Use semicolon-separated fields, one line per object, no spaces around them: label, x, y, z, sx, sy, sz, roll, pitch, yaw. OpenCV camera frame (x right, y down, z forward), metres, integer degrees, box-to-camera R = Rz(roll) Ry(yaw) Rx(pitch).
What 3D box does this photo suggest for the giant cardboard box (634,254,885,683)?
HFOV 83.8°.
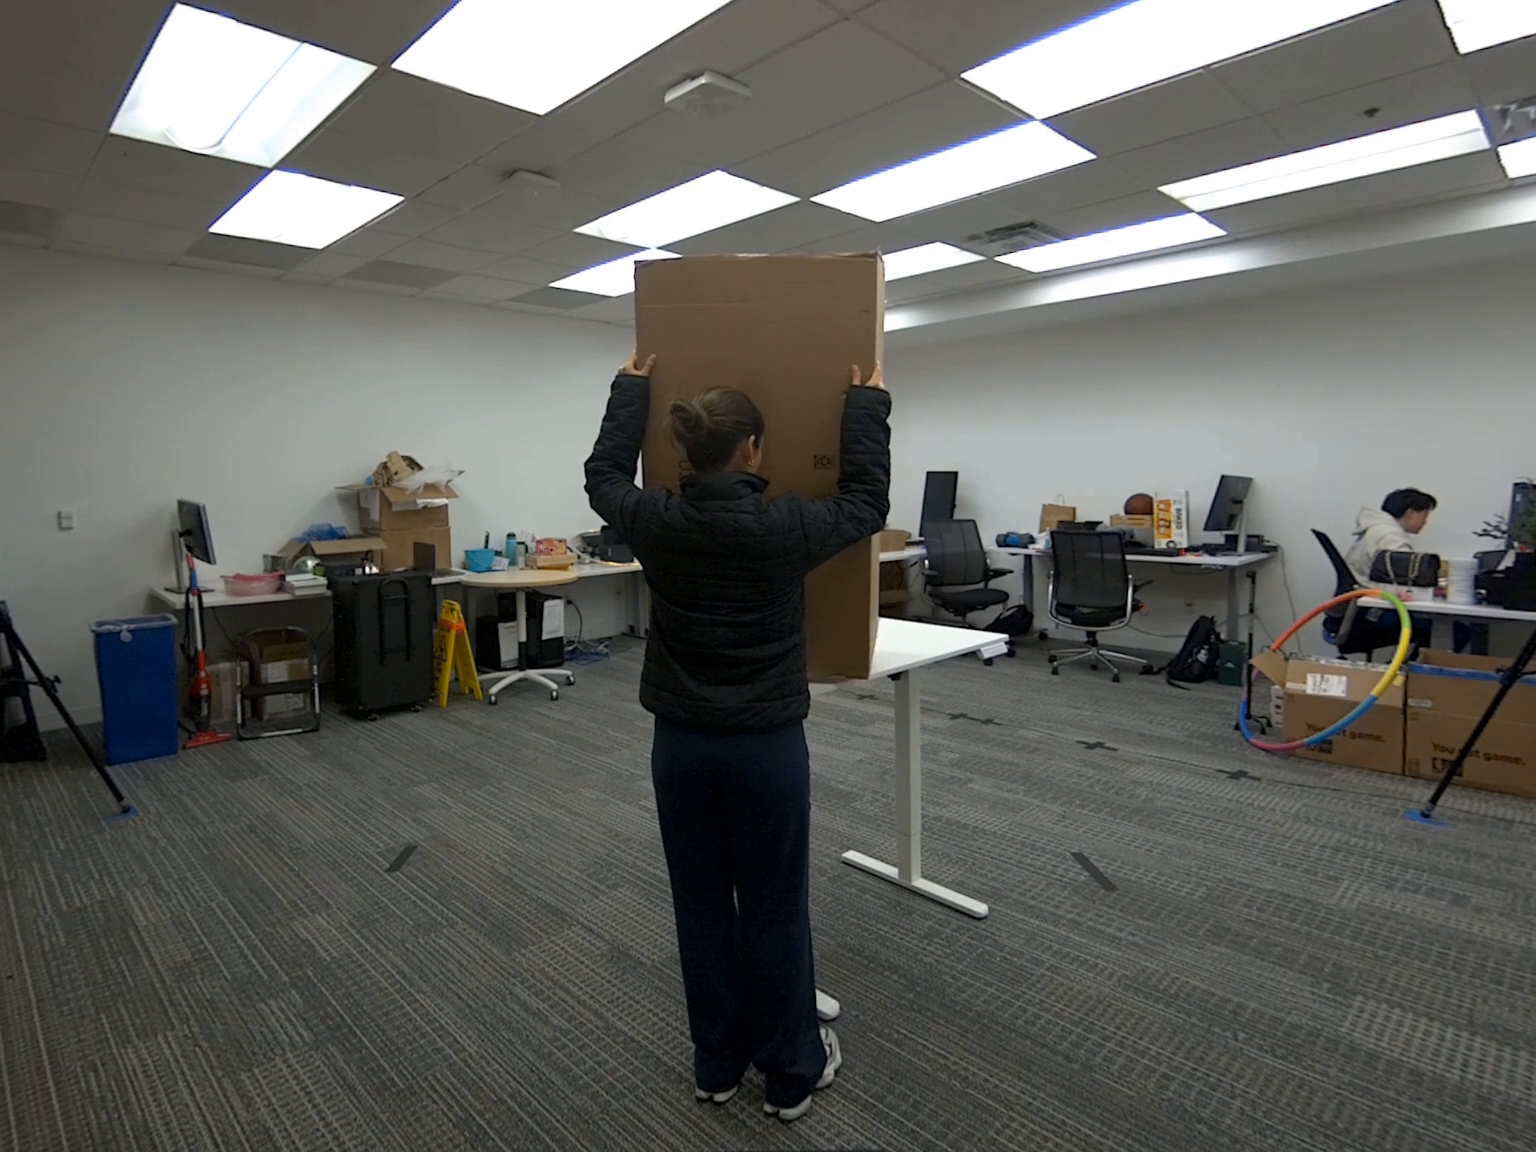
giant cardboard box;0.008;-0.301;2.267;0.592;1.014;0.447;3;15;12
